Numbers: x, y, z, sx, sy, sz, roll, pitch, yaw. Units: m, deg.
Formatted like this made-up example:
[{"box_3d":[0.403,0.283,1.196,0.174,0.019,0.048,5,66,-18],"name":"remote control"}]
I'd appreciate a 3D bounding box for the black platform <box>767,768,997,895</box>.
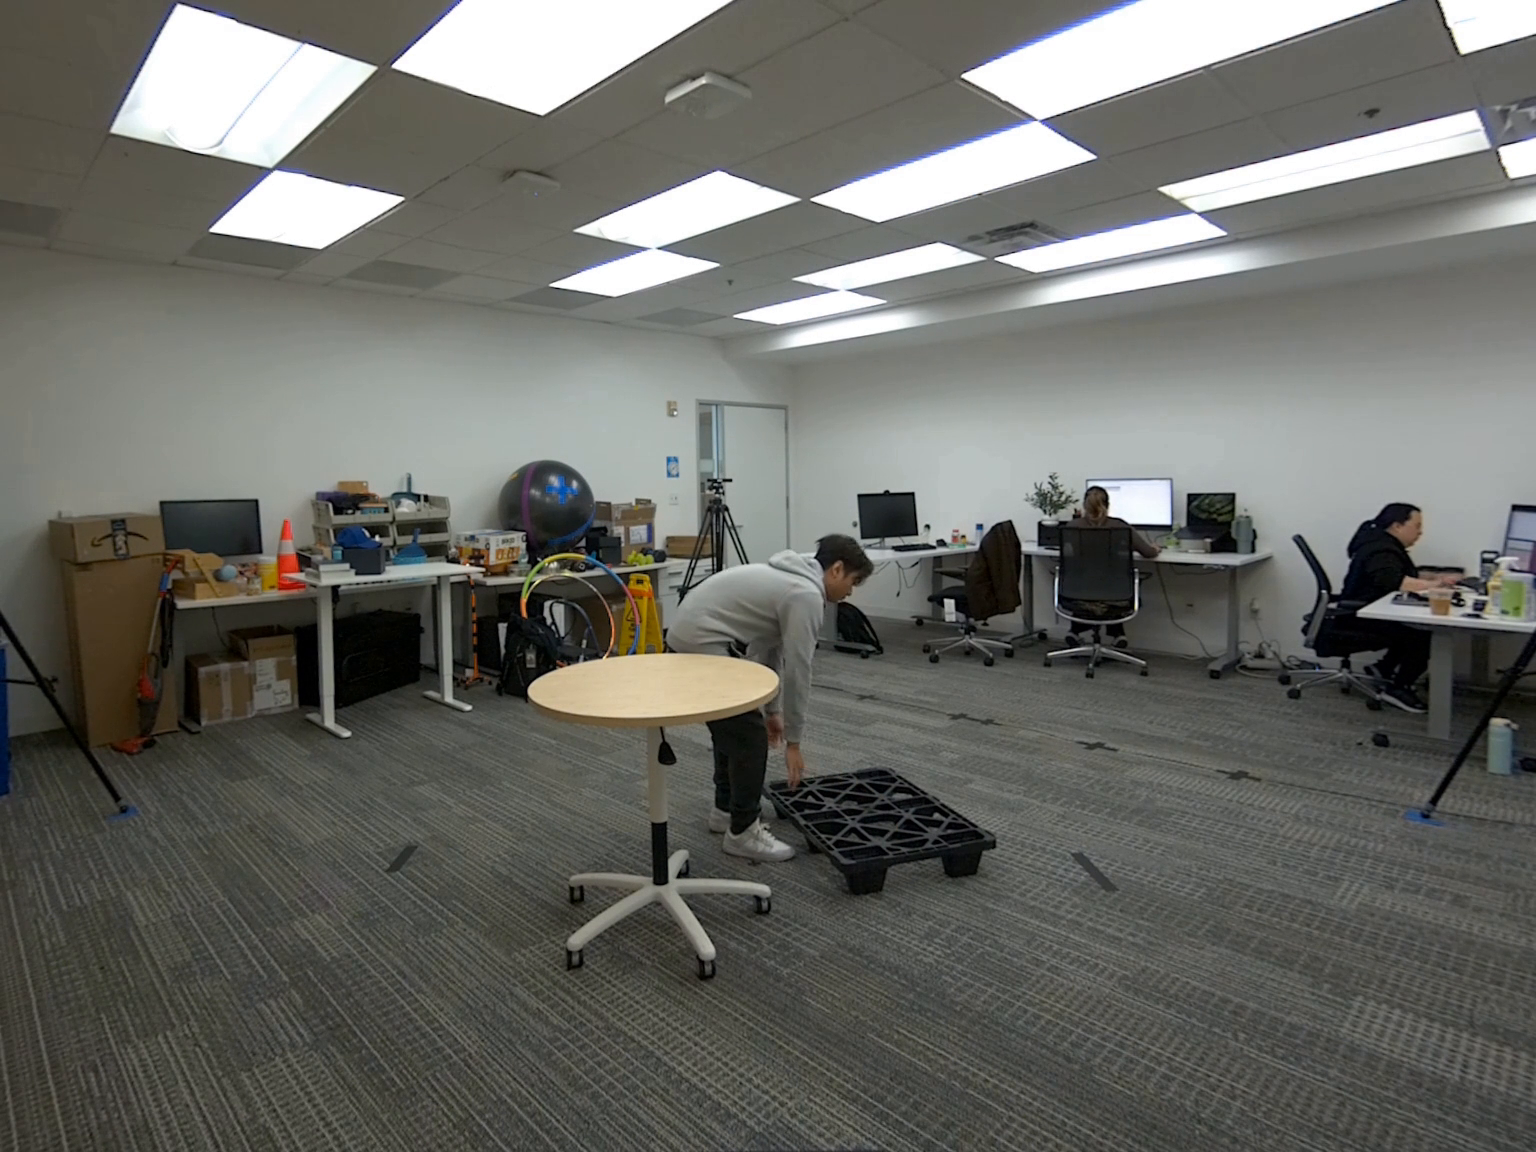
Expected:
[{"box_3d":[0.382,0.953,3.259,0.595,0.142,0.823,-4,7,-19],"name":"black platform"}]
